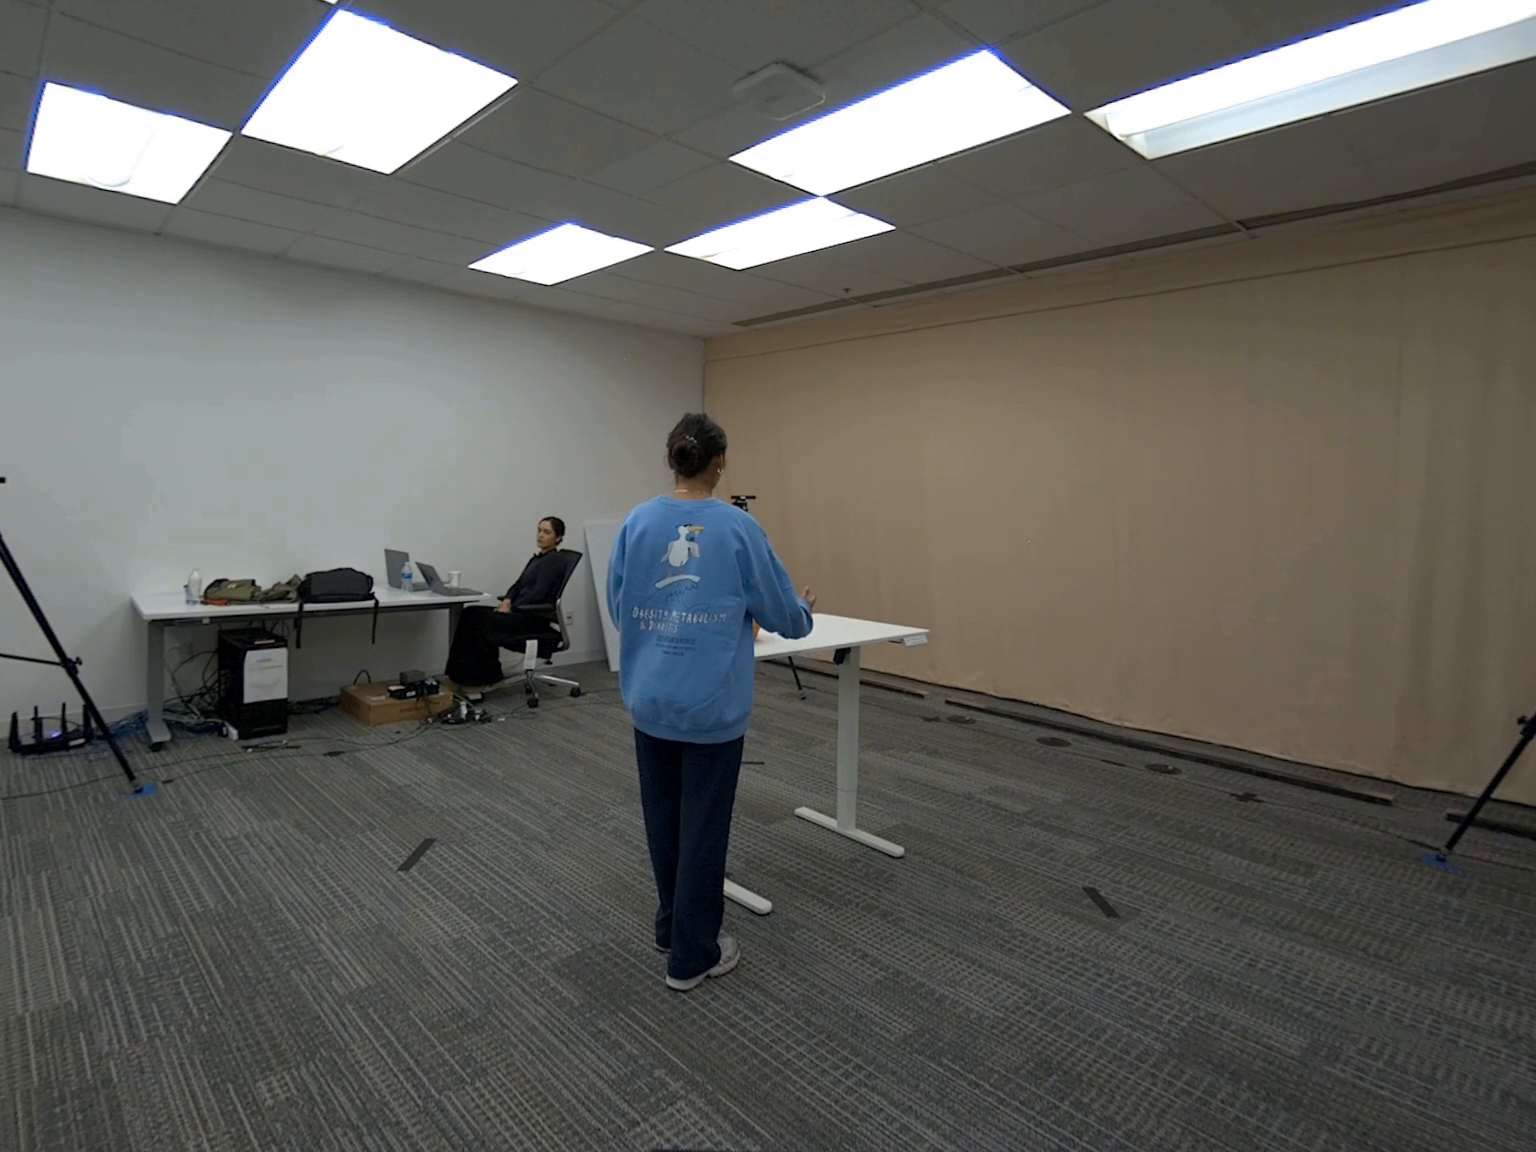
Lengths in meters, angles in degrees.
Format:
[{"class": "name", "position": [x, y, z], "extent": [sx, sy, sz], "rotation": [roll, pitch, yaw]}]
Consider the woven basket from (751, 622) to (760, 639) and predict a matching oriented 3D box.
[{"class": "woven basket", "position": [-0.169, 0.205, 2.977], "extent": [0.343, 0.073, 0.258], "rotation": [-5, 5, -41]}]
